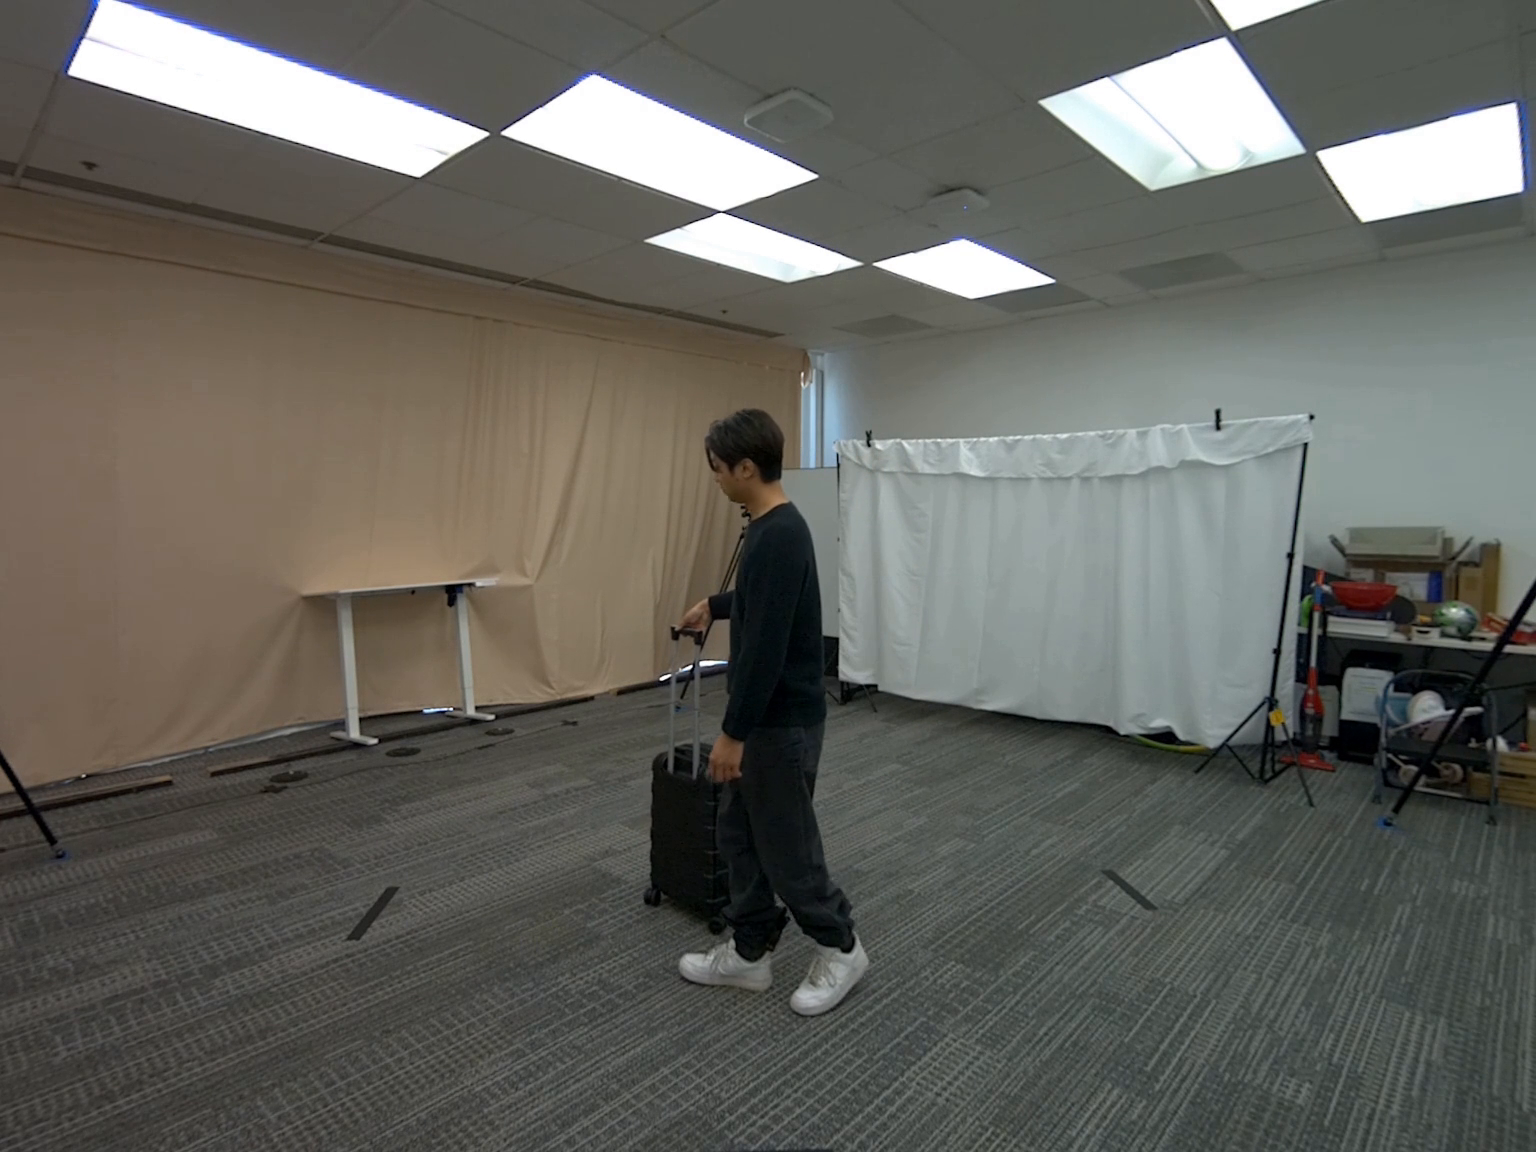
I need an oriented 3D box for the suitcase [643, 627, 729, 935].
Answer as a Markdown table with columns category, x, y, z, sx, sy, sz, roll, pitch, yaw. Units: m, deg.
| category | x | y | z | sx | sy | sz | roll | pitch | yaw |
| --- | --- | --- | --- | --- | --- | --- | --- | --- | --- |
| suitcase | -0.215 | 0.676 | 2.924 | 0.397 | 0.978 | 0.249 | 4 | 2 | 43 |
